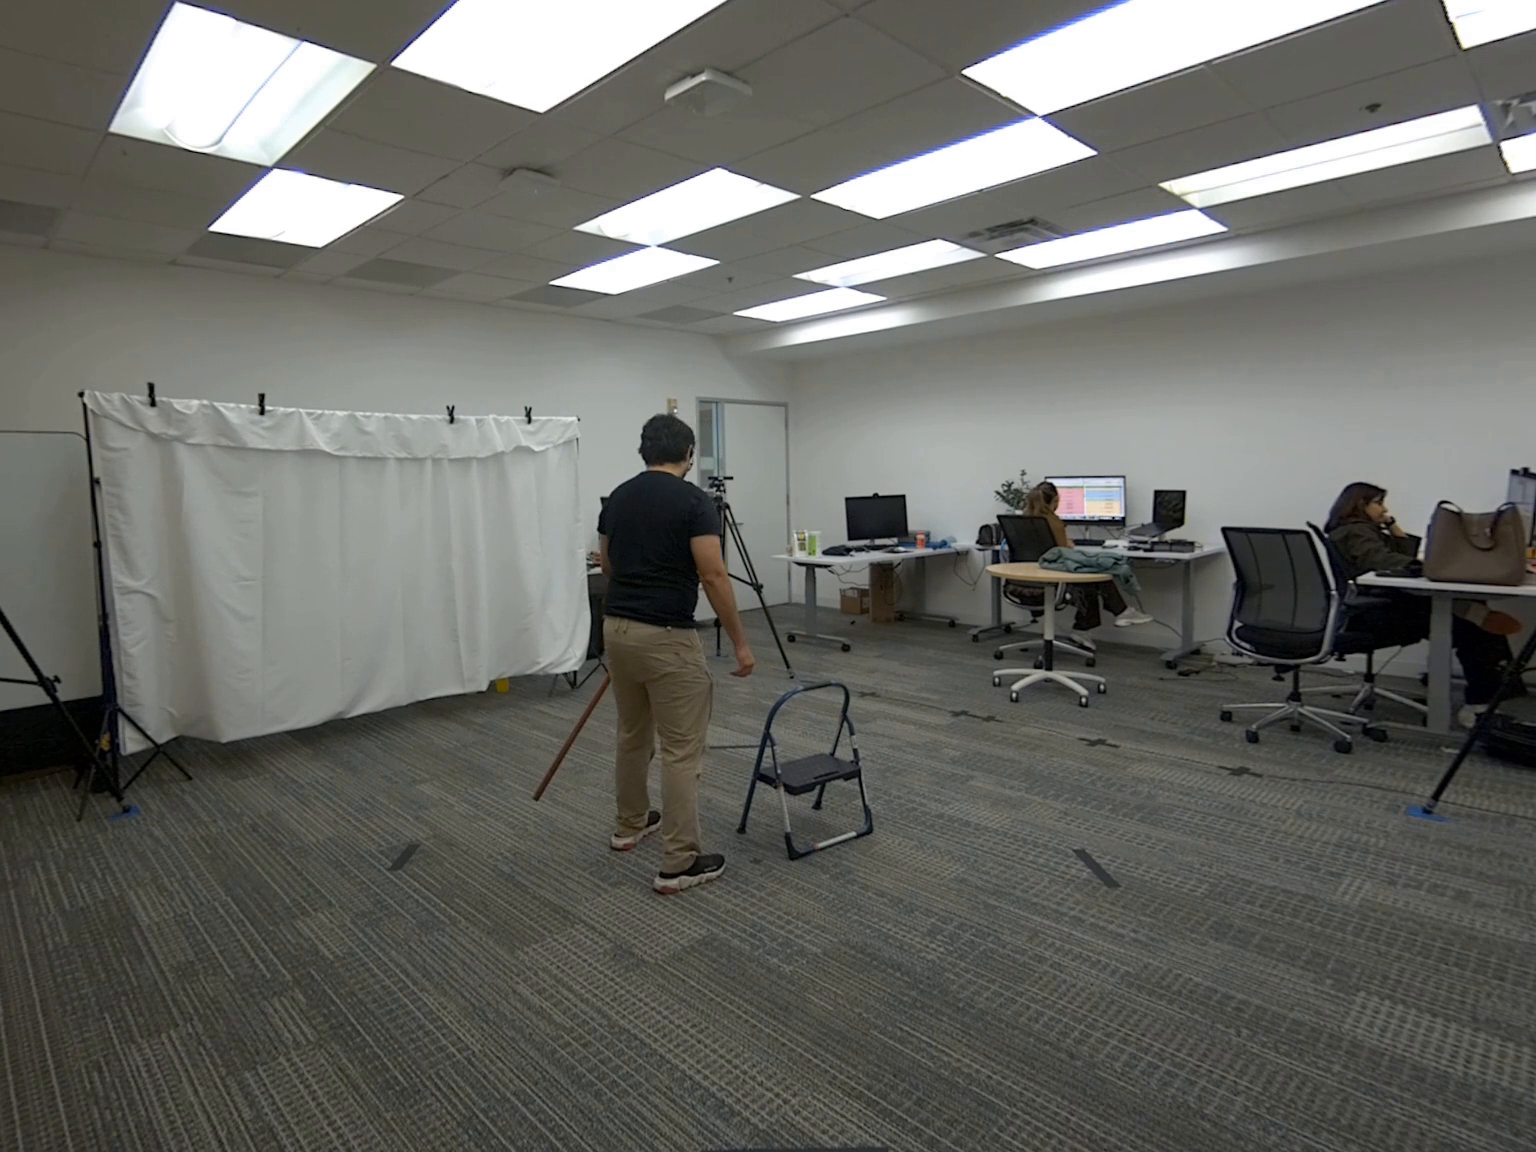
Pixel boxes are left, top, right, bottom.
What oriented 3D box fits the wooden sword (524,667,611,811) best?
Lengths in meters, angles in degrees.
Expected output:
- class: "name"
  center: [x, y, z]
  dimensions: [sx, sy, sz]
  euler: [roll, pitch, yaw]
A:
- class: "wooden sword"
  center: [-0.655, 0.438, 3.375]
  dimensions: [0.025, 1.031, 0.049]
  euler: [20, -22, 23]
